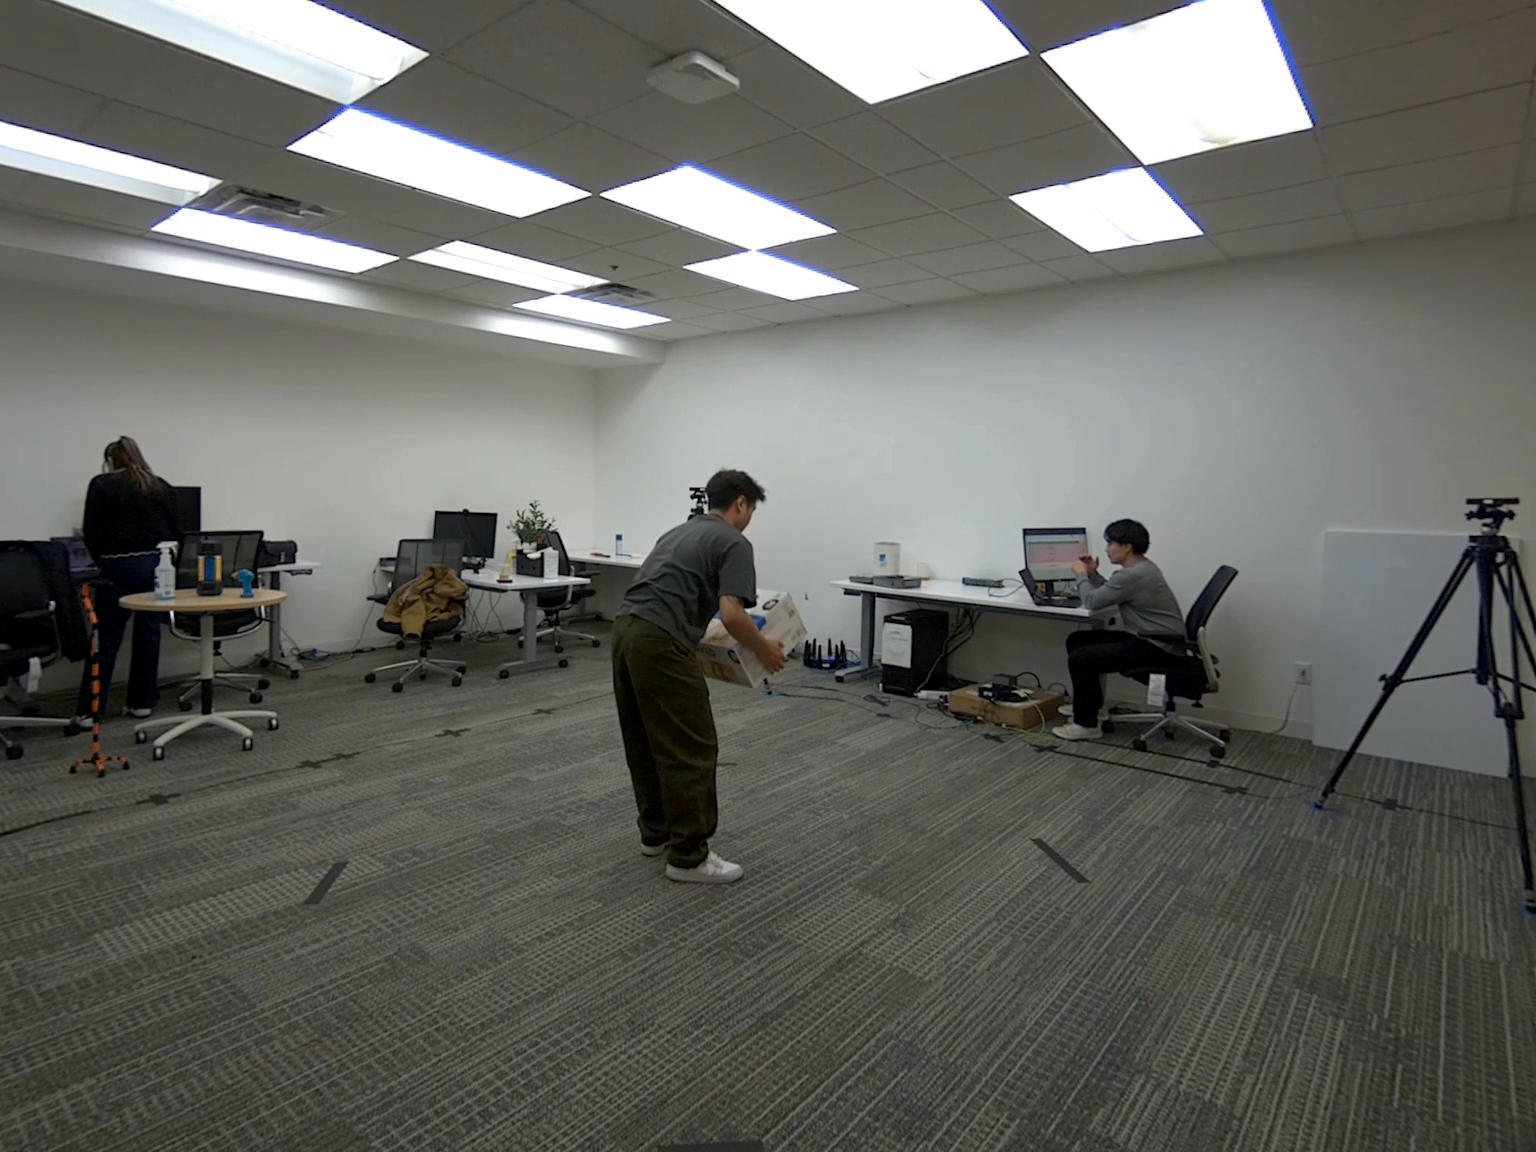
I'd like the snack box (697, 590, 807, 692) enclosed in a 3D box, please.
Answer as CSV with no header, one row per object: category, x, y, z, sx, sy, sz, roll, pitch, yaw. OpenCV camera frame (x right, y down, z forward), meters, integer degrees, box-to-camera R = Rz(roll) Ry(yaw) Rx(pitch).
snack box,-0.132,0.235,3.355,0.419,0.200,0.339,5,39,47
